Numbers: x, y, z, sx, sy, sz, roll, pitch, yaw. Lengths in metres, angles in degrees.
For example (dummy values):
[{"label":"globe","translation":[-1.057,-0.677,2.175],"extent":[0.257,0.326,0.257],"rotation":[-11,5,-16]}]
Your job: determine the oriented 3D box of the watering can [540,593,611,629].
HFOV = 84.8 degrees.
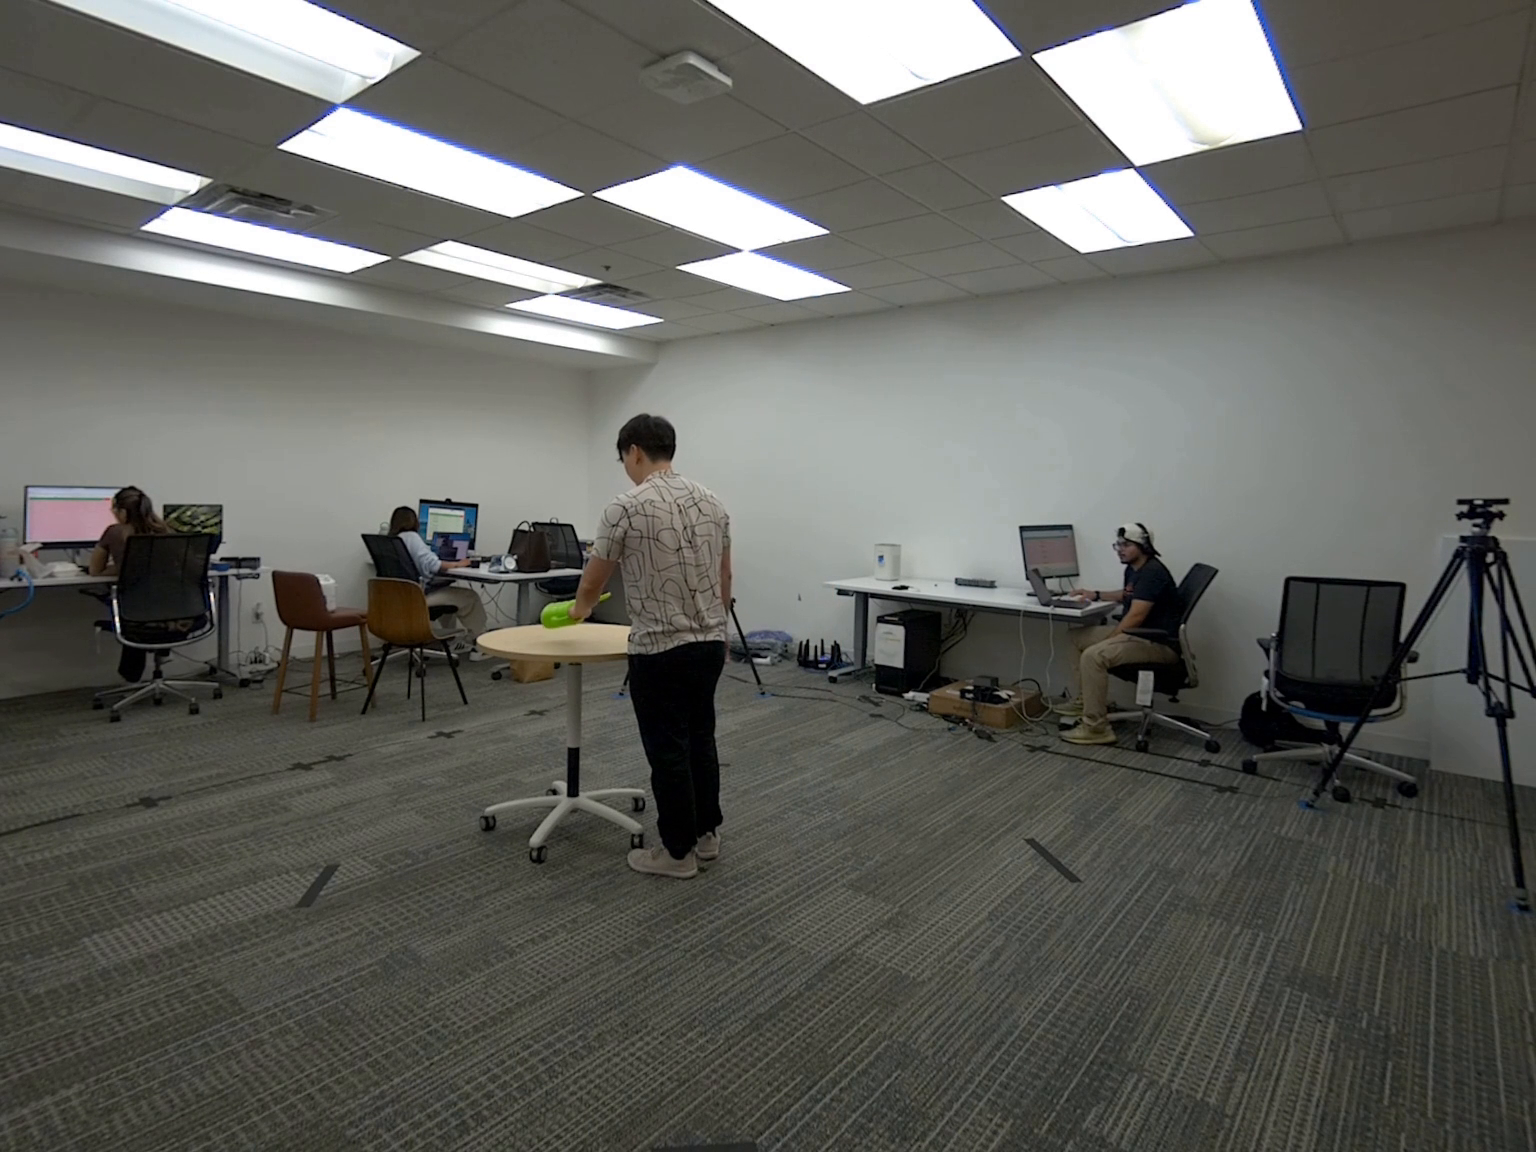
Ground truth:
[{"label":"watering can","translation":[-0.778,0.143,3.346],"extent":[0.181,0.098,0.273],"rotation":[-9,4,27]}]
